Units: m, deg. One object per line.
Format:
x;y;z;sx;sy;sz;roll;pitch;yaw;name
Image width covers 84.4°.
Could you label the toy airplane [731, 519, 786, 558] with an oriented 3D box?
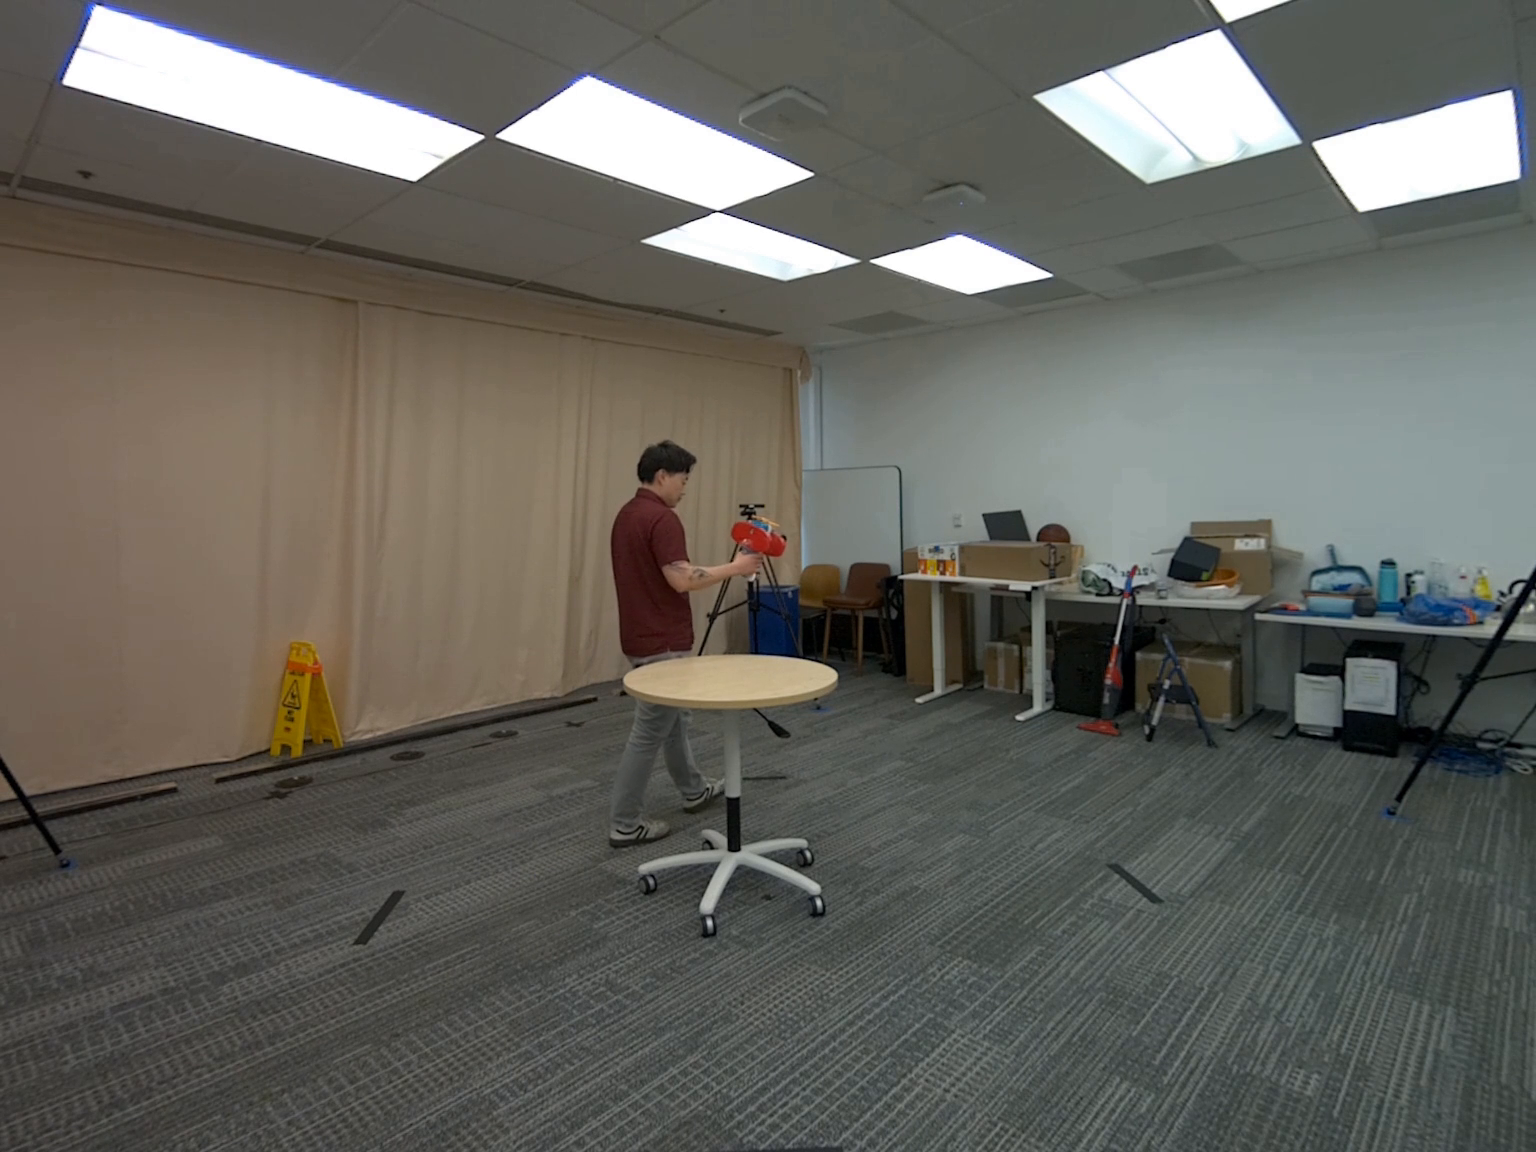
-0.030;-0.110;3.456;0.258;0.261;0.151;-10;-35;40;toy airplane
